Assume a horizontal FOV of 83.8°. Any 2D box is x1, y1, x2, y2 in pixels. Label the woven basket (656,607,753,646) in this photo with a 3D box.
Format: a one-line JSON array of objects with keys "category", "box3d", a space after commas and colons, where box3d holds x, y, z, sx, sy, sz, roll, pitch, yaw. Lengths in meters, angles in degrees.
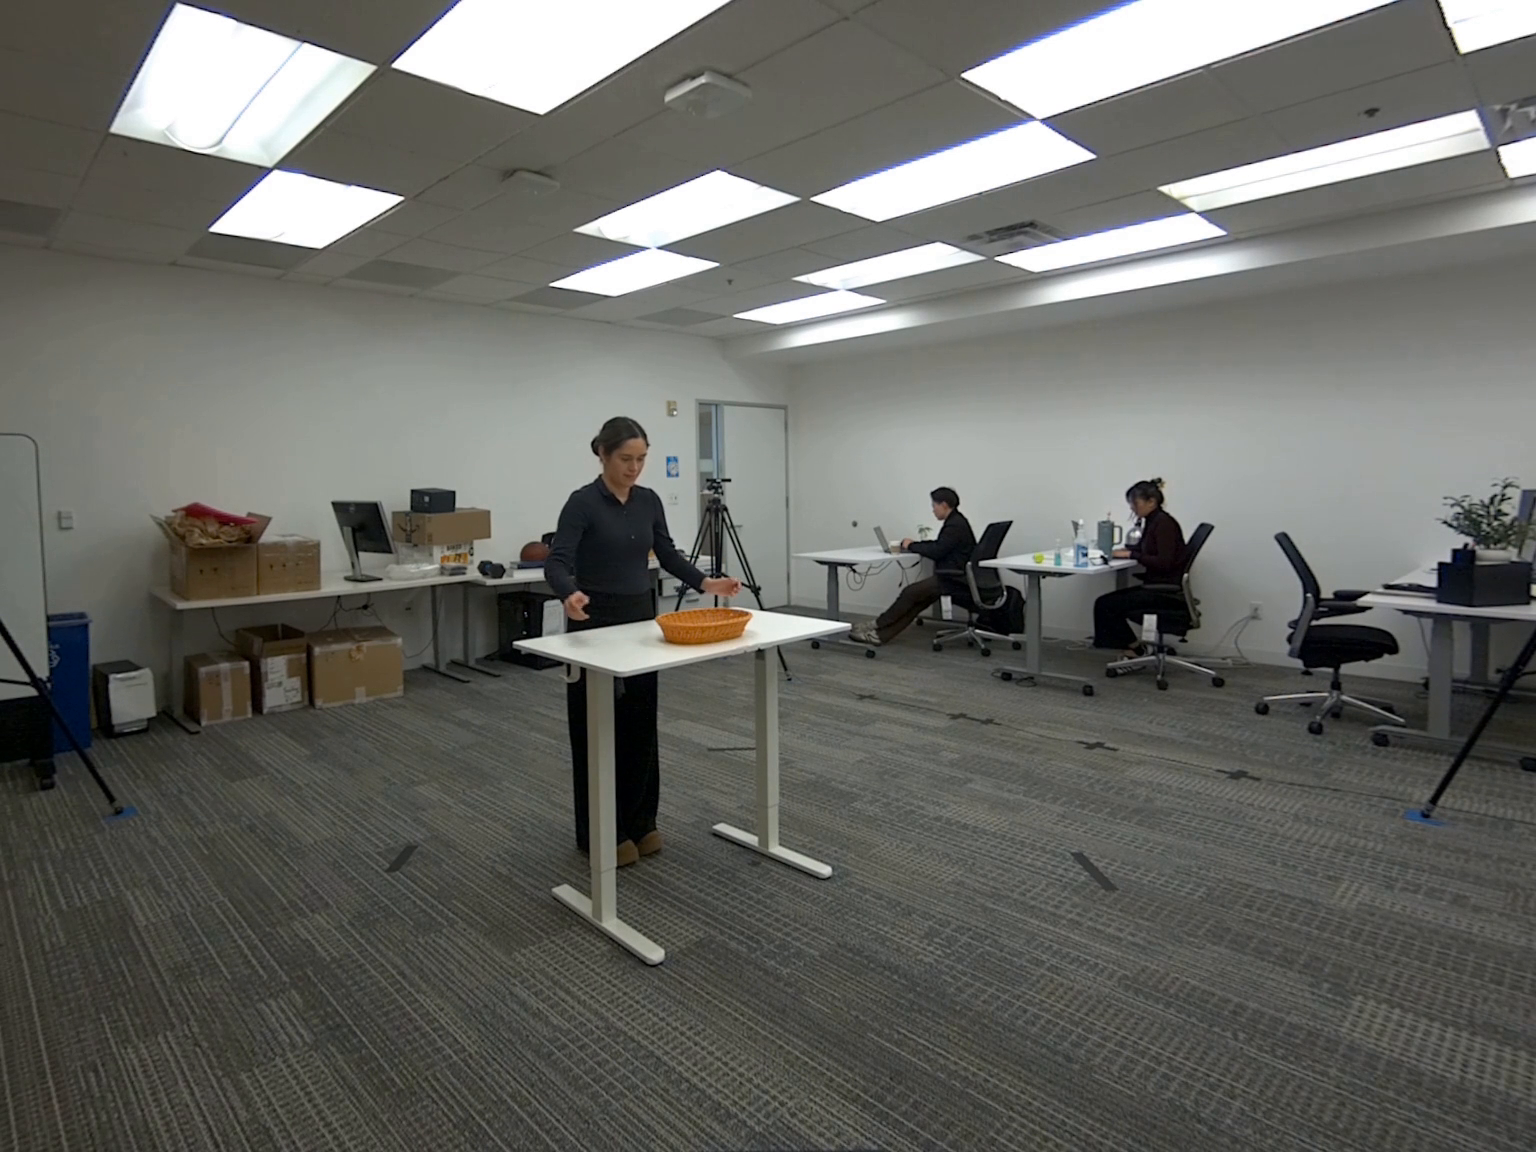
[{"category": "woven basket", "box3d": [-0.215, 0.173, 2.804, 0.341, 0.073, 0.260, -7, 10, -43]}]
